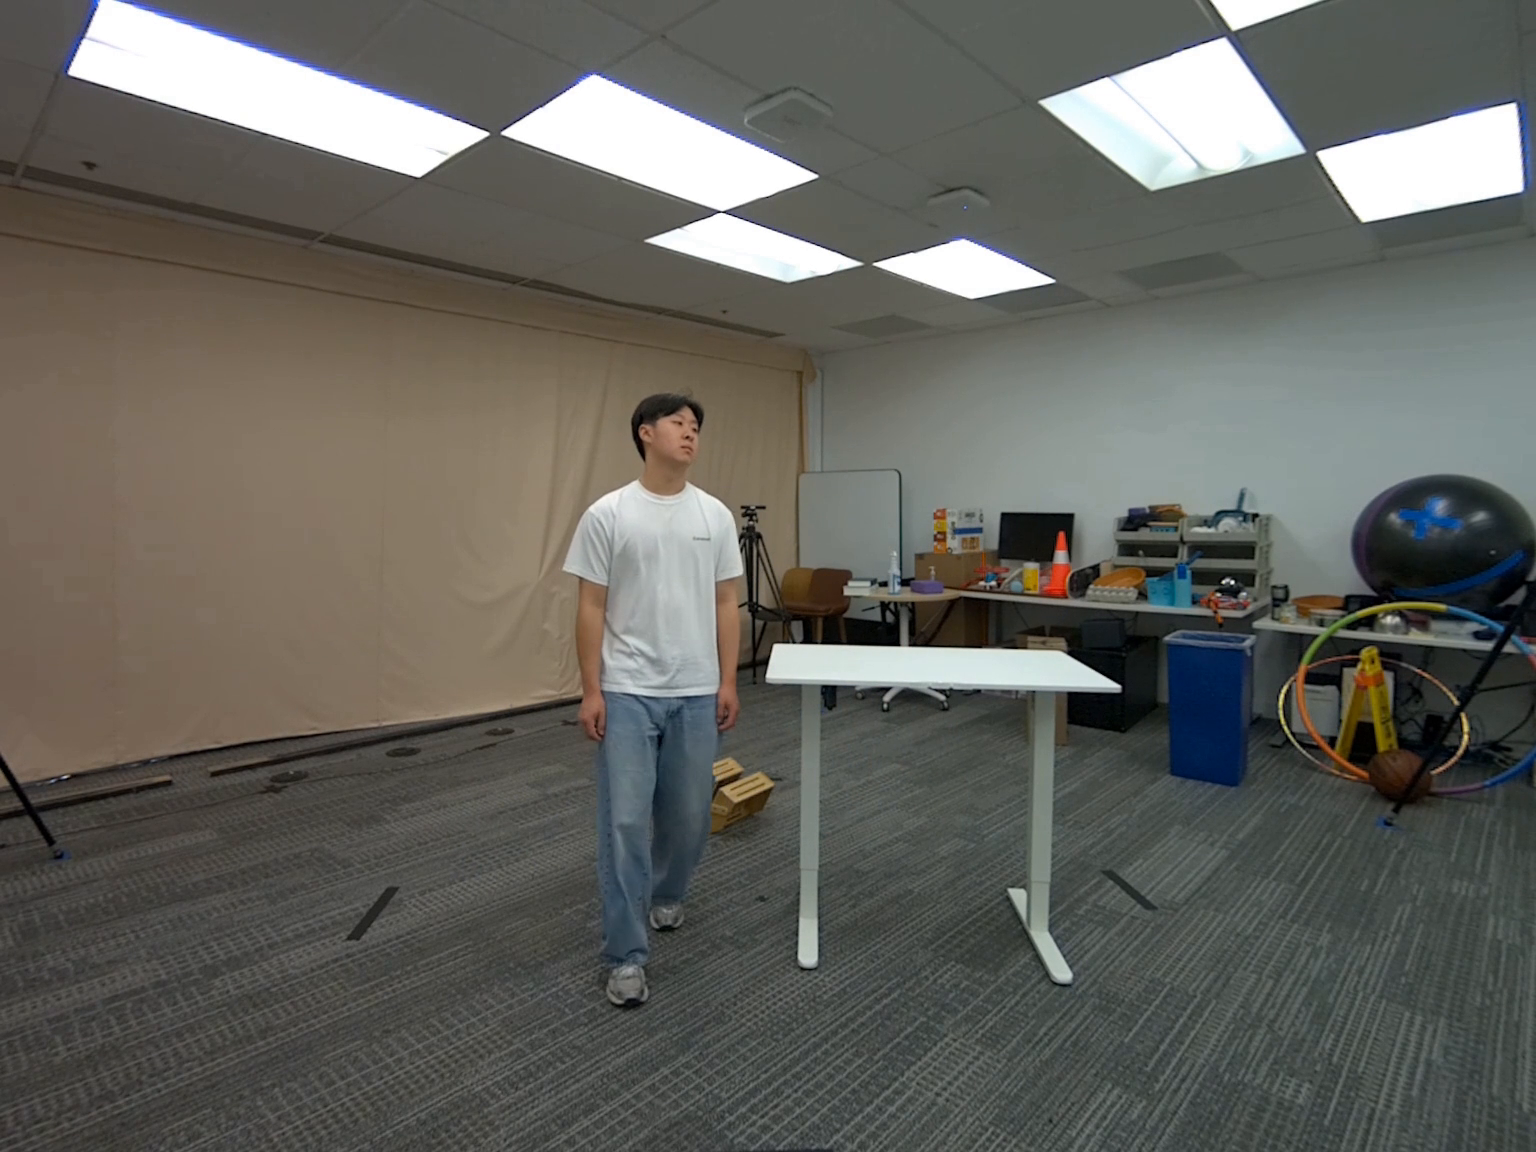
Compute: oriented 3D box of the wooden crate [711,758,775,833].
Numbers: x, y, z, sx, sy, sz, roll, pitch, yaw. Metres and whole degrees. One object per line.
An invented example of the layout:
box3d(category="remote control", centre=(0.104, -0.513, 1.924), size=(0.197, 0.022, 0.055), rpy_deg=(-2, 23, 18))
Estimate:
box3d(category="wooden crate", centre=(-0.199, 0.995, 3.716), size=(0.282, 0.301, 0.315), rpy_deg=(35, 23, 30))
